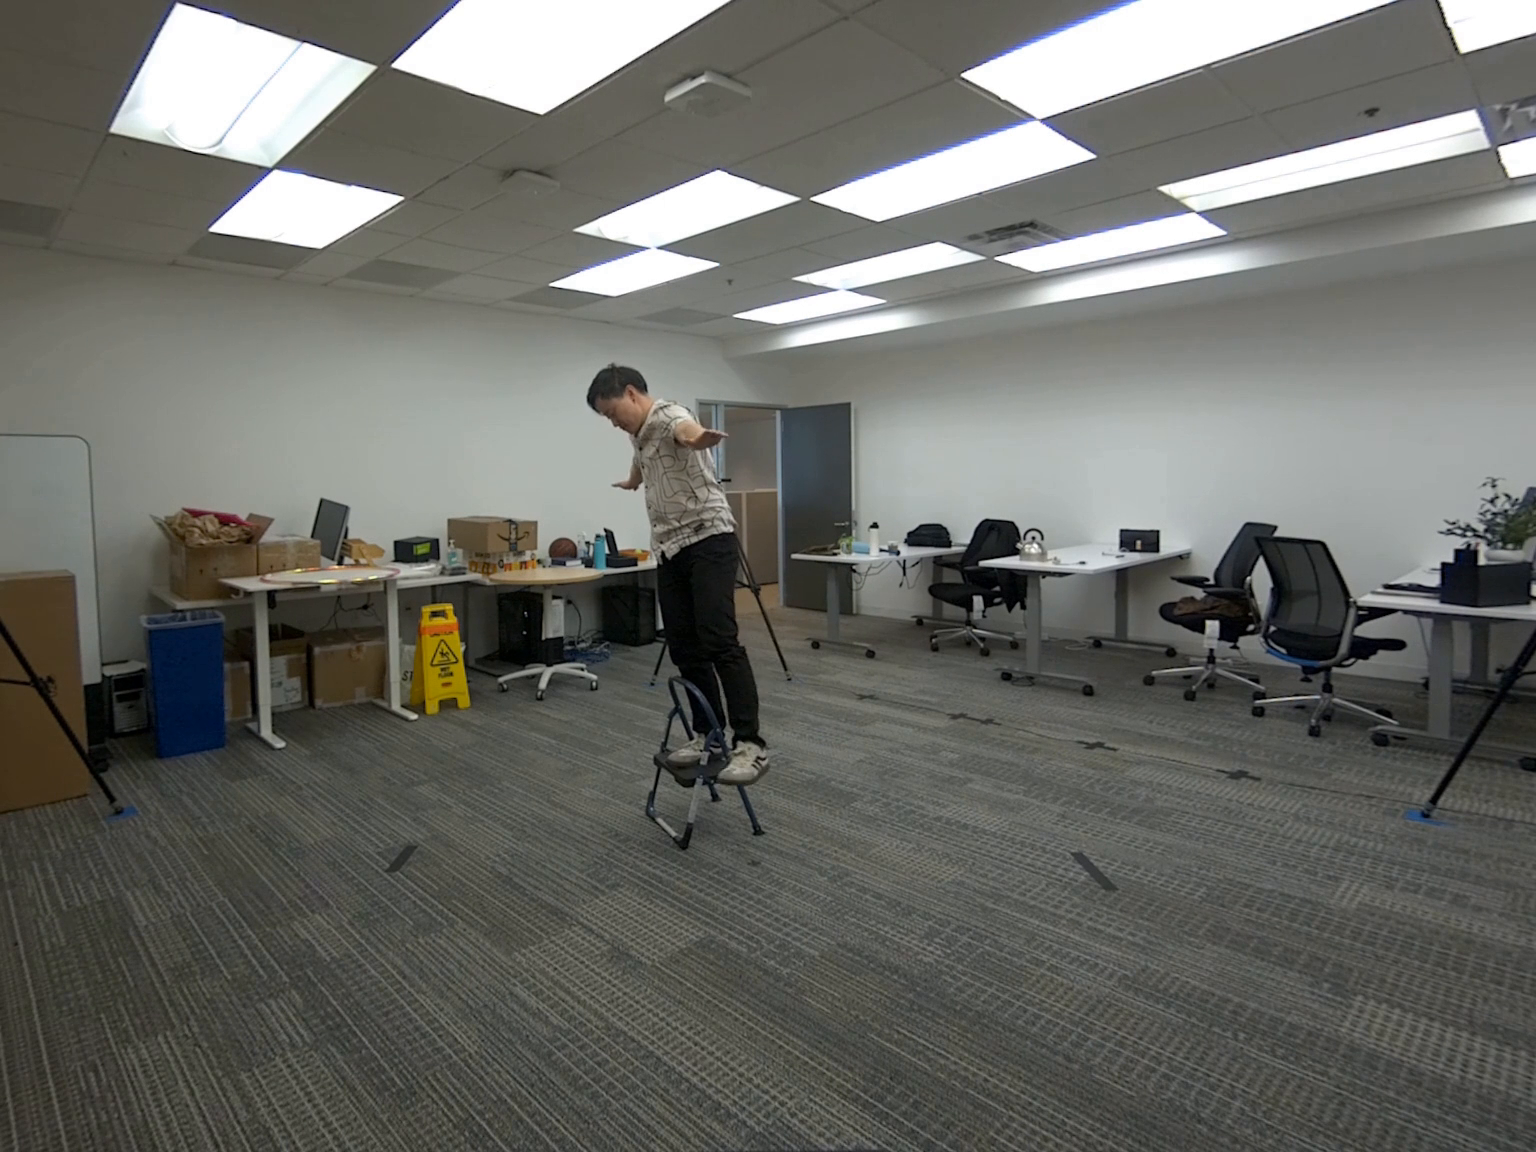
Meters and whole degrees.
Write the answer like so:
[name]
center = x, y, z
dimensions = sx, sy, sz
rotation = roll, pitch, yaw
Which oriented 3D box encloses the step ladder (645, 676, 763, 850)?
[step ladder]
center = -0.272, 0.705, 3.461
dimensions = 0.341, 0.604, 0.442
rotation = -3, 5, -28
